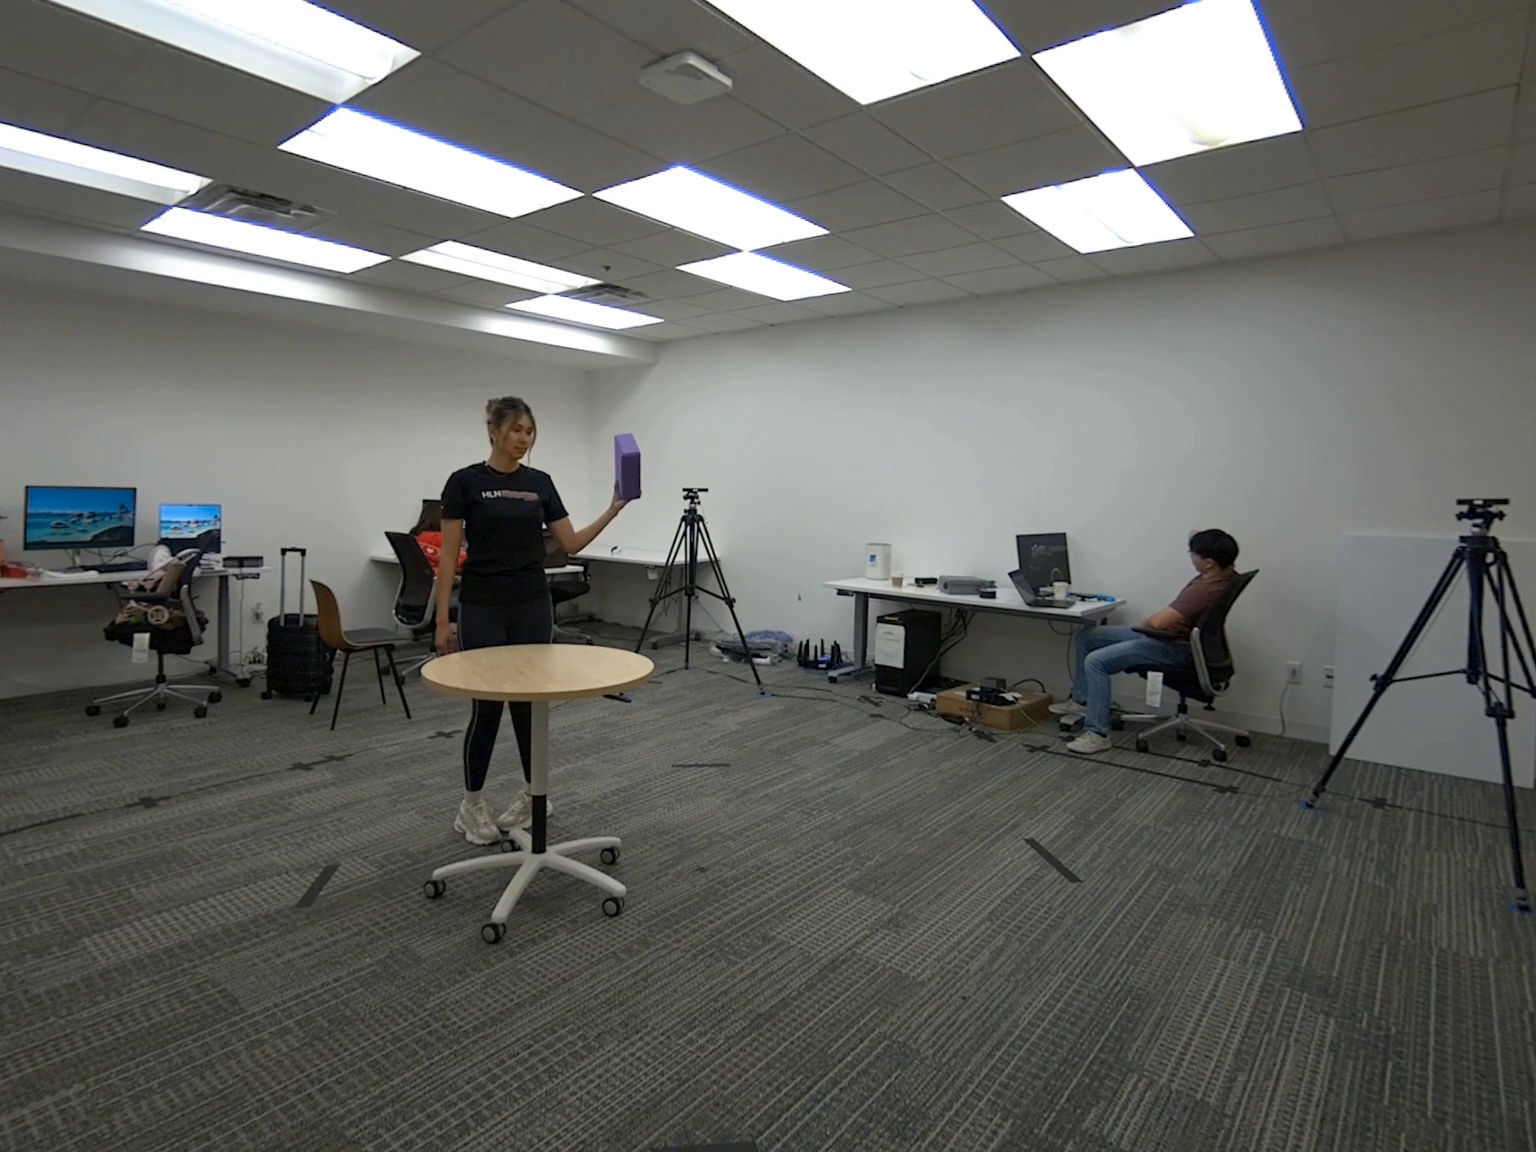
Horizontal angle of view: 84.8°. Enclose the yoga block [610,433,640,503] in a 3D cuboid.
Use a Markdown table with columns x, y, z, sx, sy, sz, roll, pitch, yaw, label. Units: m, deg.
| x | y | z | sx | sy | sz | roll | pitch | yaw | label |
| --- | --- | --- | --- | --- | --- | --- | --- | --- | --- |
| -0.575 | -0.431 | 3.354 | 0.075 | 0.224 | 0.155 | -6 | 43 | -19 | yoga block |
